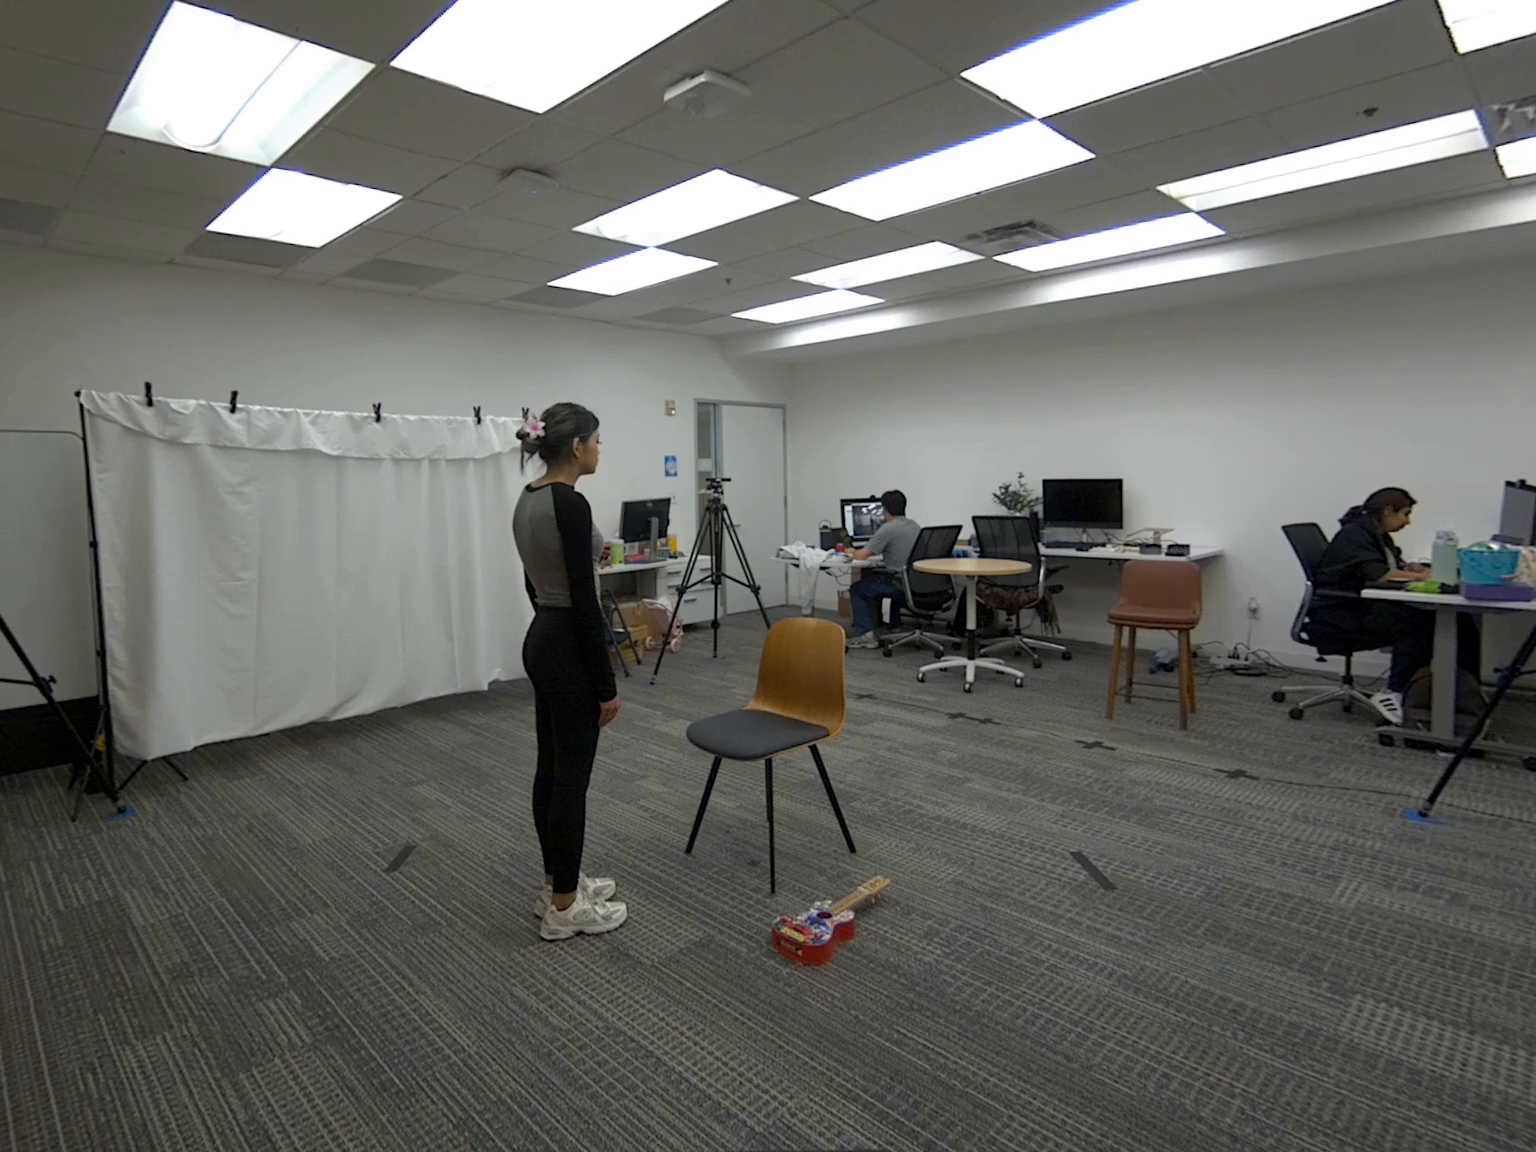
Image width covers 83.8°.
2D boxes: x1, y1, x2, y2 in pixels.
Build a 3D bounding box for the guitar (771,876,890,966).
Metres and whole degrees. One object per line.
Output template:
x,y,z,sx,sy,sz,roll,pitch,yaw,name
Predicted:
0.238,1.050,2.641,0.485,0.070,0.199,-7,8,-37,guitar
